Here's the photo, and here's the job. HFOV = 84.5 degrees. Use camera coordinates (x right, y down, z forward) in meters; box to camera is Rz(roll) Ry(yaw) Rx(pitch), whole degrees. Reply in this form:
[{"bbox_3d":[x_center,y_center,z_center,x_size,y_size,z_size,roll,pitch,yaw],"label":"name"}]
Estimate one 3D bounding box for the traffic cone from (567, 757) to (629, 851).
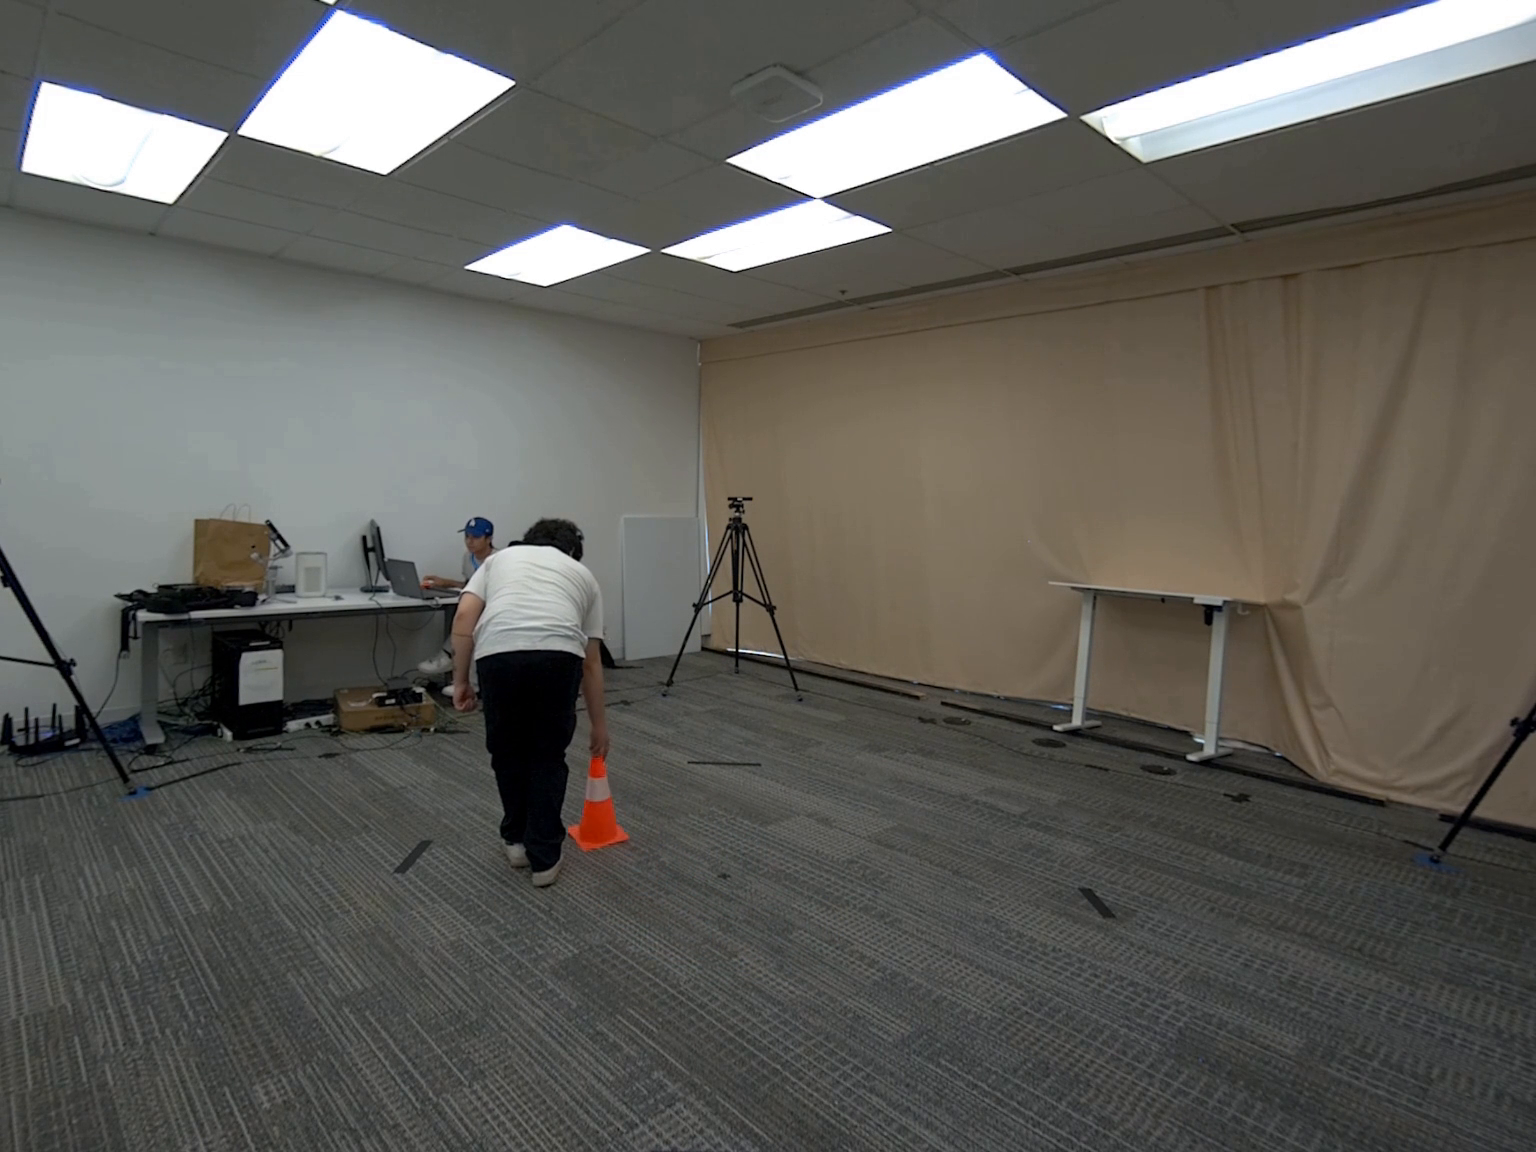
[{"bbox_3d":[-0.701,0.872,3.401,0.199,0.381,0.210,-5,11,-33],"label":"traffic cone"}]
